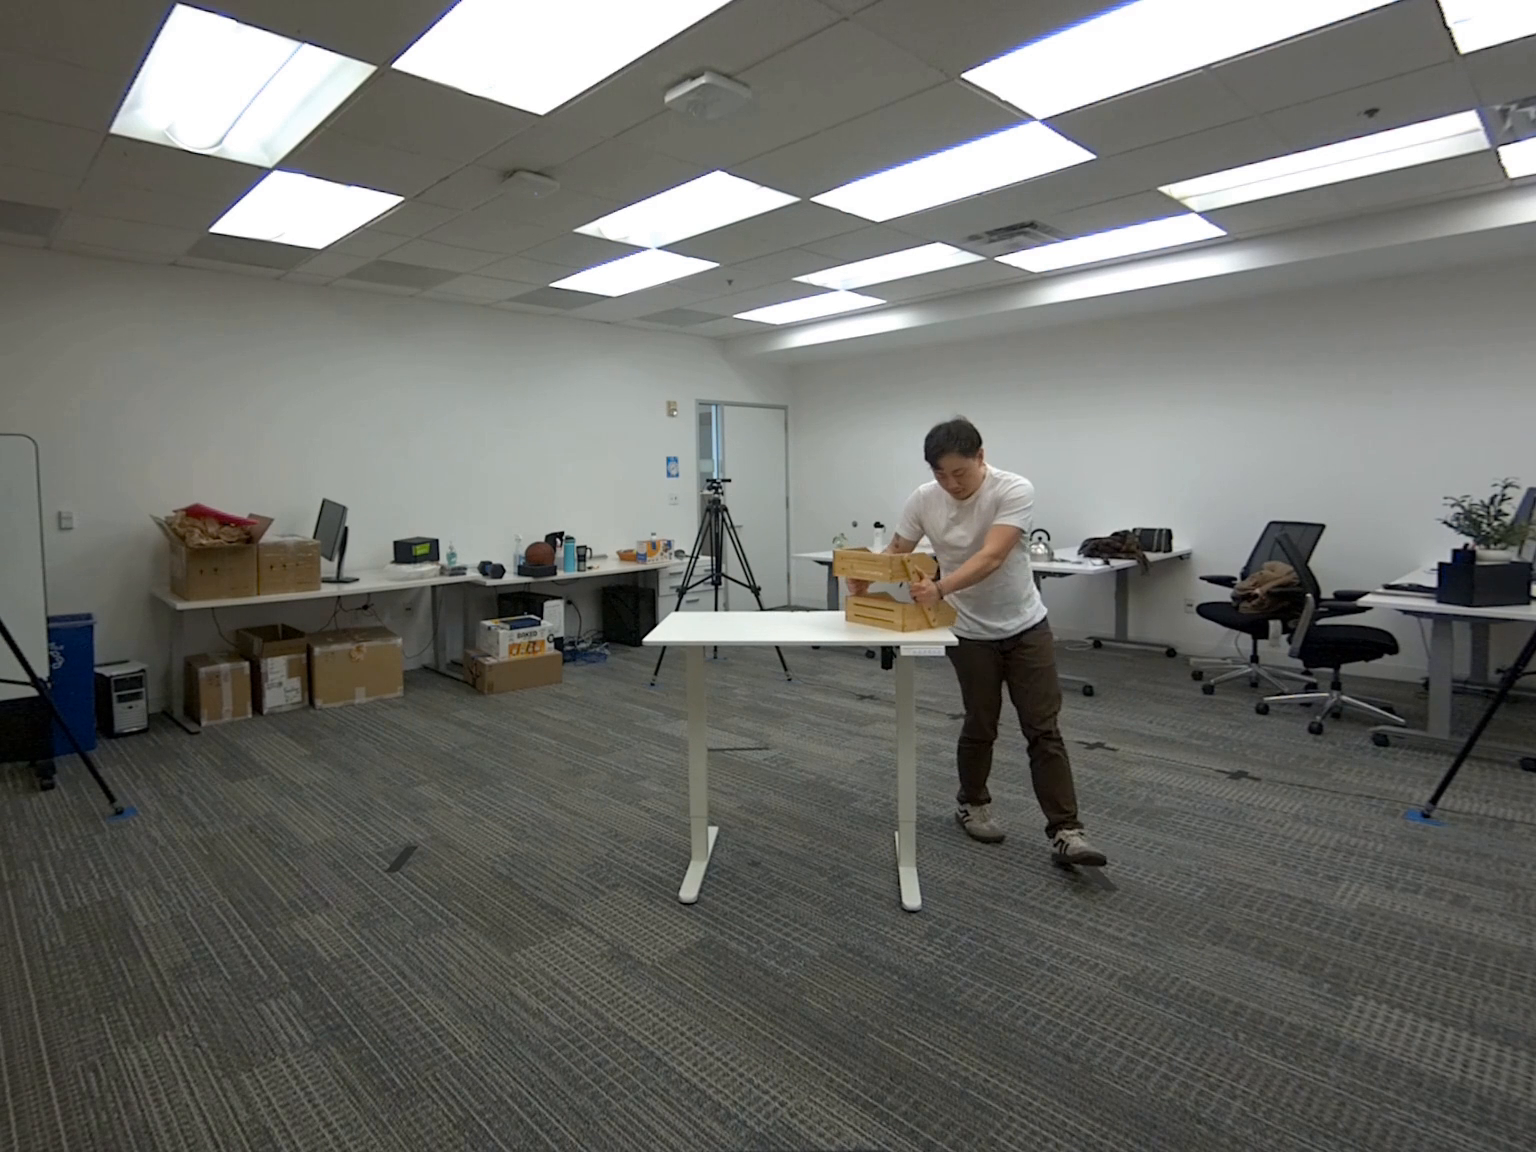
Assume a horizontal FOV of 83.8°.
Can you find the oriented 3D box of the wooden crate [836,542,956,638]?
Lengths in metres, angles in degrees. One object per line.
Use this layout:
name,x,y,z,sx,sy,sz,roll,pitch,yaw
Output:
wooden crate,0.460,0.034,2.978,0.295,0.272,0.334,-5,7,-31
